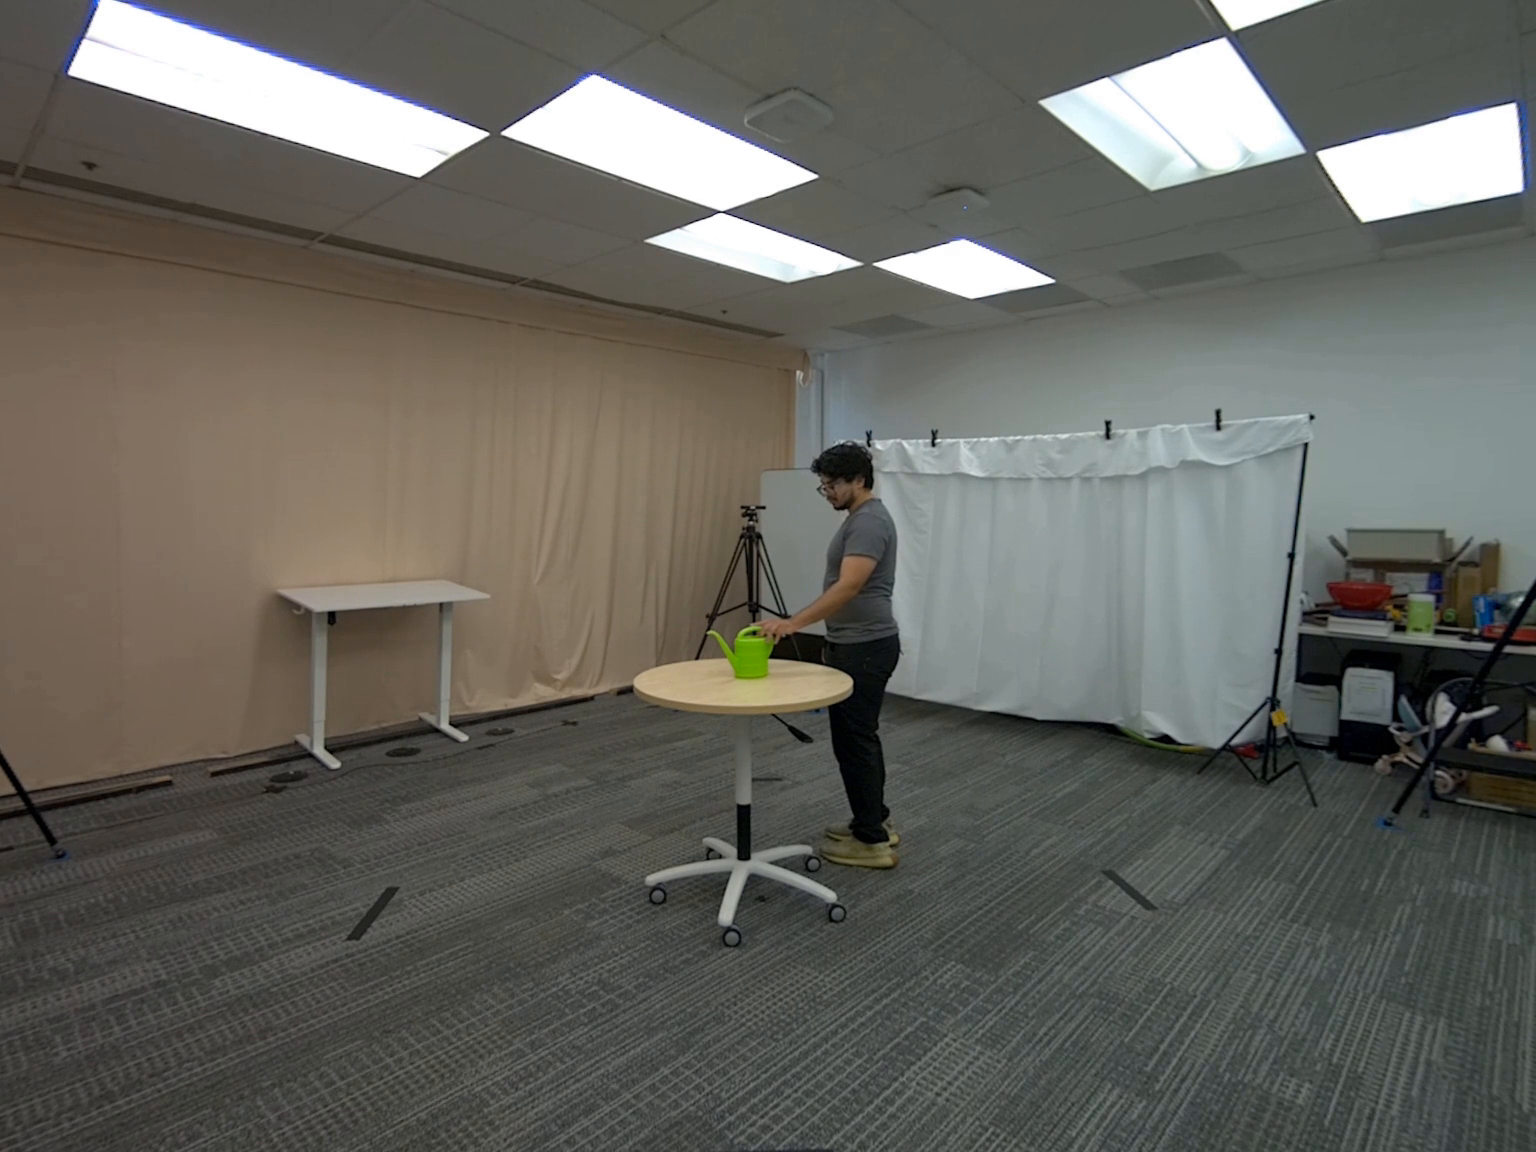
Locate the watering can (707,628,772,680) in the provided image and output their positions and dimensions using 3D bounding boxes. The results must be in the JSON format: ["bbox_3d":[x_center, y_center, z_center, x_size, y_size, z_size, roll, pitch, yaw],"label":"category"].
[{"bbox_3d":[-0.095,0.275,2.987,0.273,0.176,0.100,0,2,-20],"label":"watering can"}]
